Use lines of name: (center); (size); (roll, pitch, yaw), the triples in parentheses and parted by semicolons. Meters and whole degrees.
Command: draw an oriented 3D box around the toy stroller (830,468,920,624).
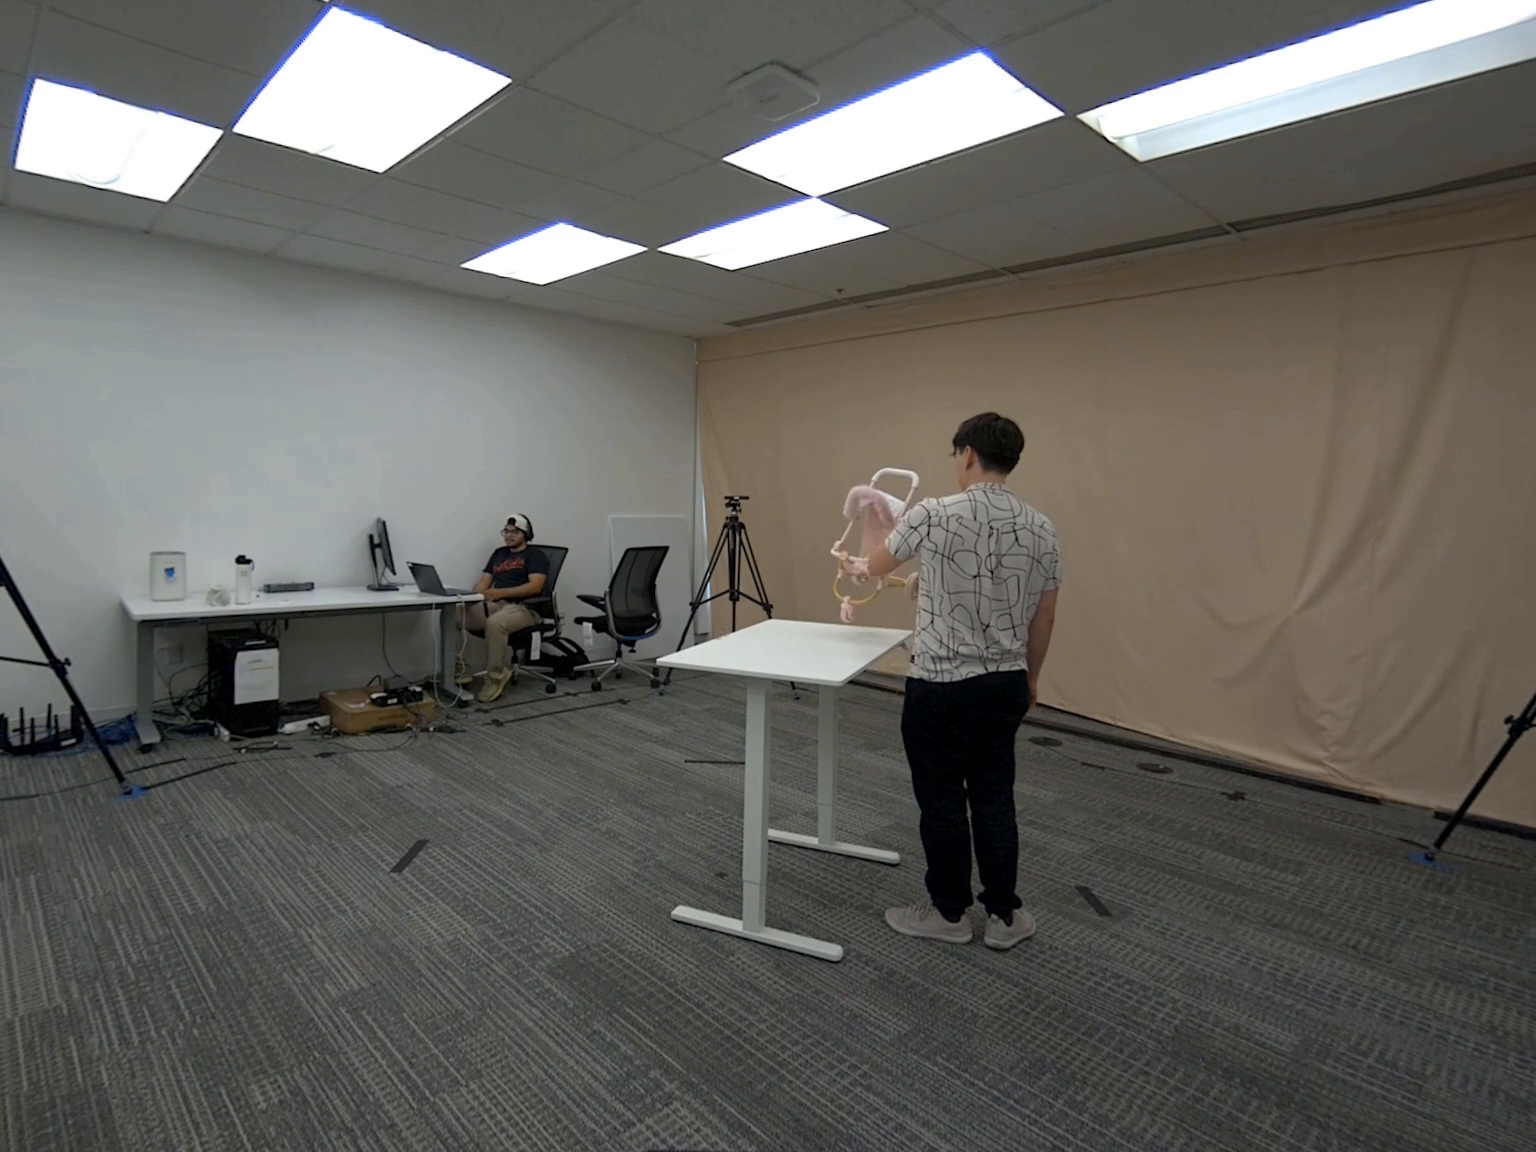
toy stroller: (0.375, -0.113, 3.164); (0.336, 0.528, 0.290); (-15, 23, -38)
